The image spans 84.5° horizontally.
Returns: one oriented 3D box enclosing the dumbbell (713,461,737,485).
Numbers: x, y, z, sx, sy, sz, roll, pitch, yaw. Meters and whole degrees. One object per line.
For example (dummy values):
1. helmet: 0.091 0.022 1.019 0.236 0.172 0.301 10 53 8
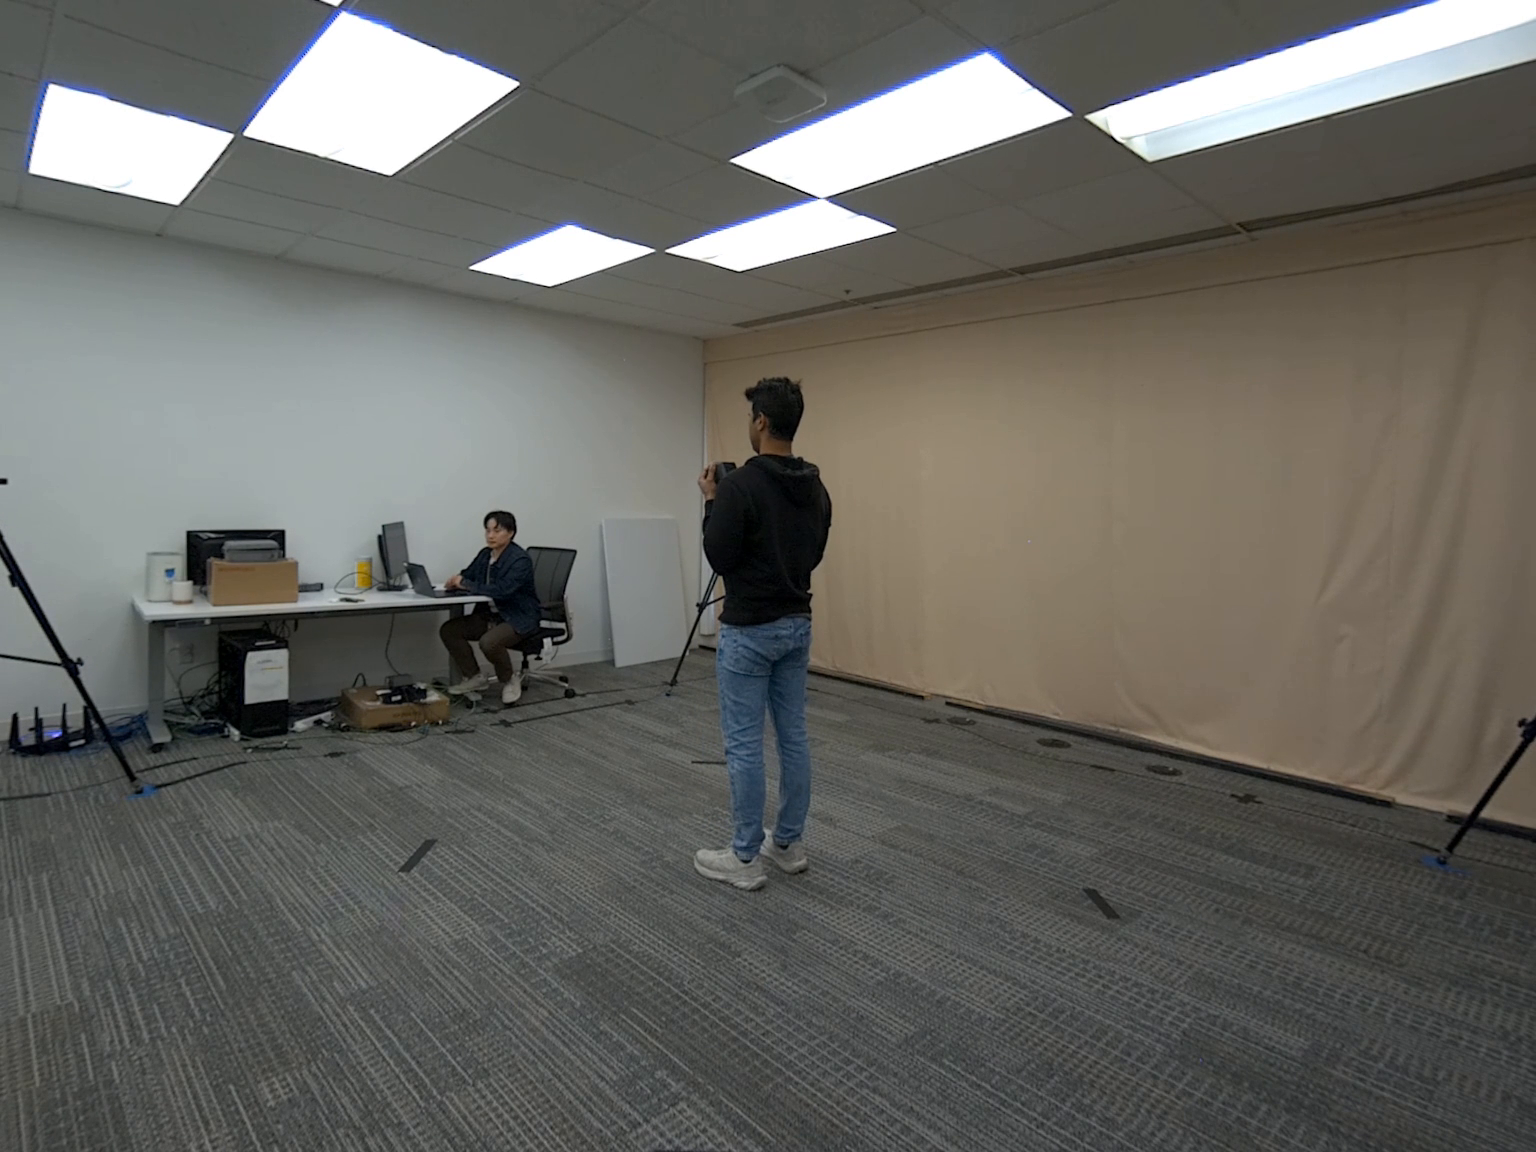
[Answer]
1. dumbbell: -0.086 -0.358 3.179 0.287 0.108 0.126 -4 10 -39
